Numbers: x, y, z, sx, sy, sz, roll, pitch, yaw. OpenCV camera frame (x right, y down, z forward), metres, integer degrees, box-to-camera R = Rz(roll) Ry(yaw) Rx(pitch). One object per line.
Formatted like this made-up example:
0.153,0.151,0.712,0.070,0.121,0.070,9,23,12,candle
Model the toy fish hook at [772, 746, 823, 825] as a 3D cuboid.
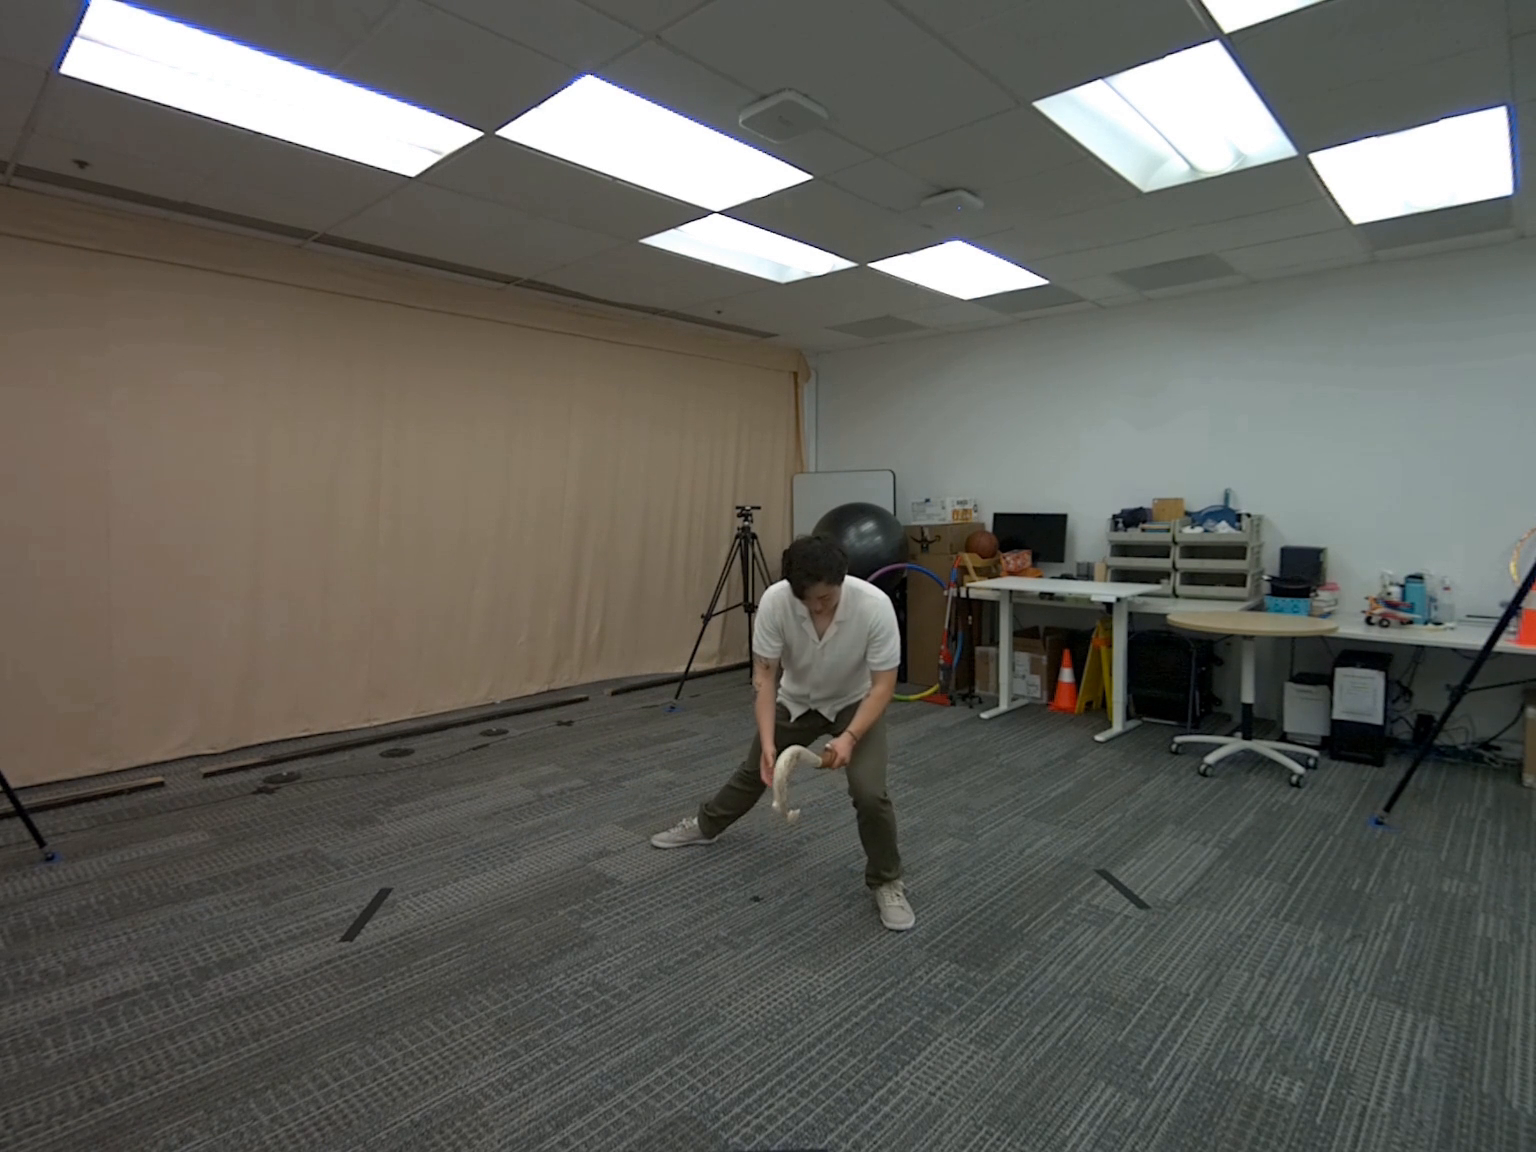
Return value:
0.116,0.617,2.549,0.050,0.225,0.492,8,-2,27,toy fish hook
